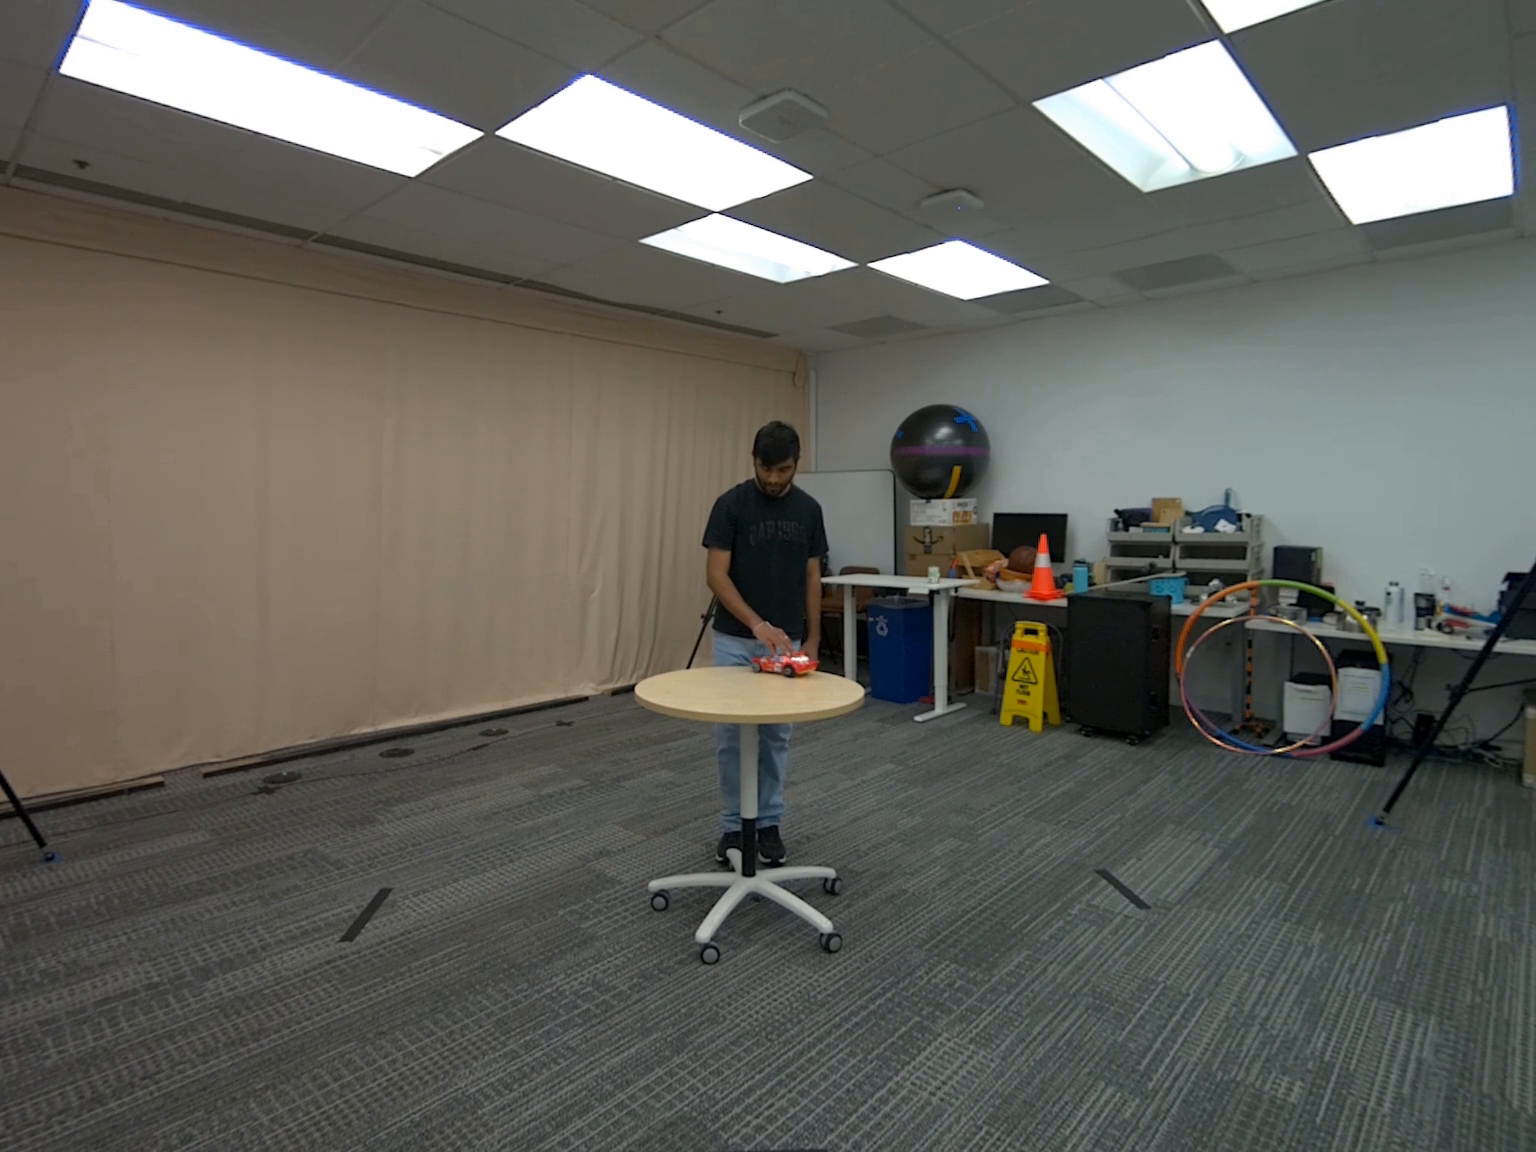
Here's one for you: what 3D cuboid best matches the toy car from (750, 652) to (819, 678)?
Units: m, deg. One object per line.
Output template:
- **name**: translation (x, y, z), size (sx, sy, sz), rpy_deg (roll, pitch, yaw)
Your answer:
- **toy car**: translation (0.064, 0.324, 3.062), size (0.261, 0.083, 0.126), rpy_deg (-10, -4, 38)
